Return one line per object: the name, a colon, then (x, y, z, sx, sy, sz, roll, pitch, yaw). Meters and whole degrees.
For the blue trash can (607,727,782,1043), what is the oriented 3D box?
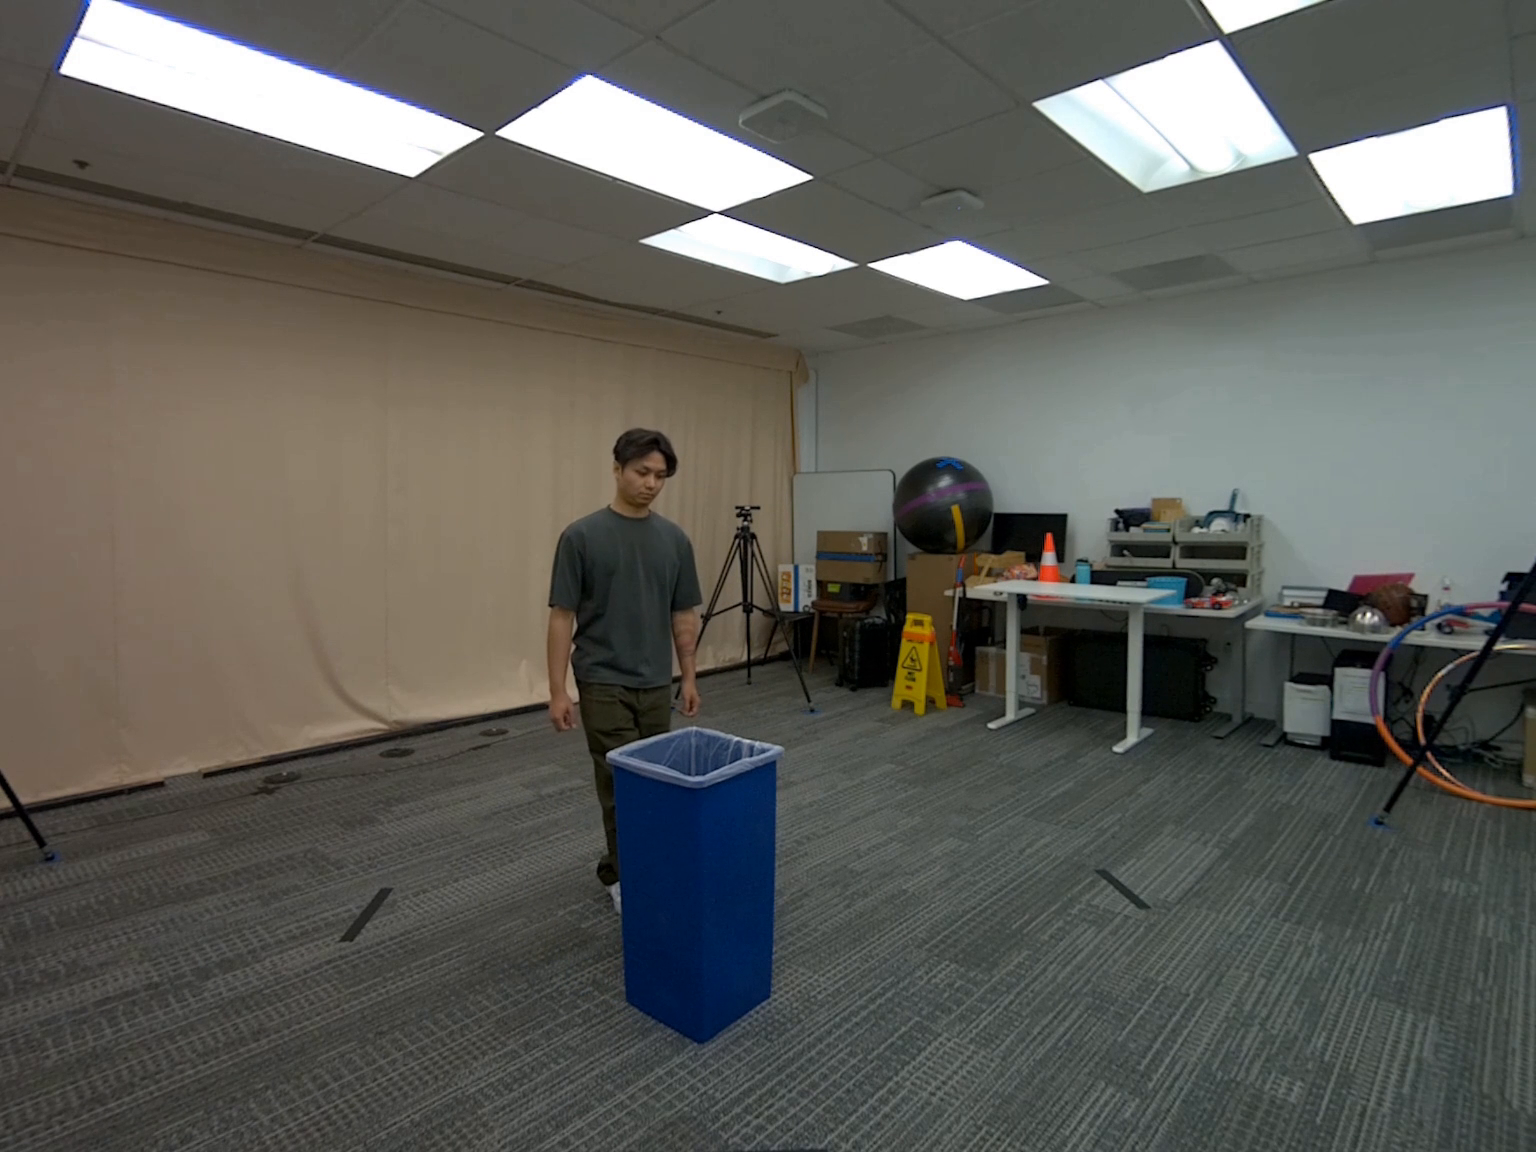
blue trash can: (-0.189, 0.841, 2.356, 0.386, 0.712, 0.367, 1, 4, 39)
